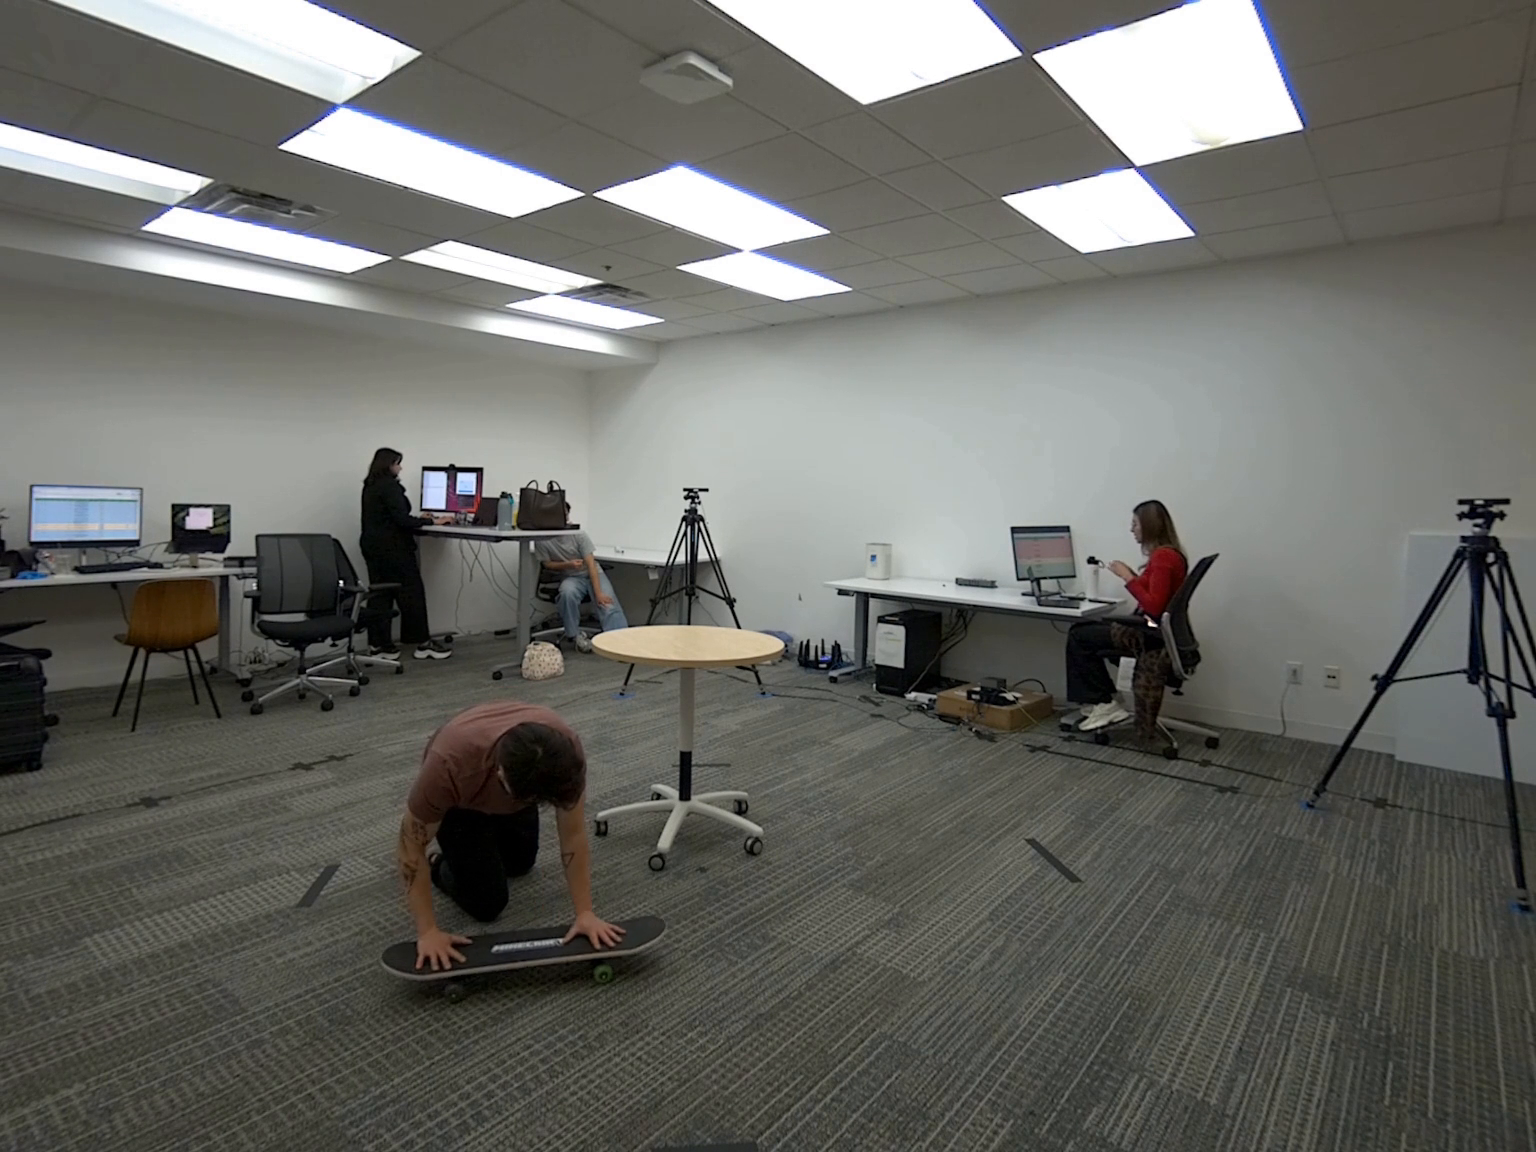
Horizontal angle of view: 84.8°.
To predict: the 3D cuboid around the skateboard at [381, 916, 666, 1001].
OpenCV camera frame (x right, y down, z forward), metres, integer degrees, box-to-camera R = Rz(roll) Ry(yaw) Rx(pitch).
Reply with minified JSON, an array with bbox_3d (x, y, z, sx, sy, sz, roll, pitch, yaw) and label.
[{"bbox_3d":[-0.676,1.071,2.417,0.774,0.110,0.197,-1,4,-14],"label":"skateboard"}]
